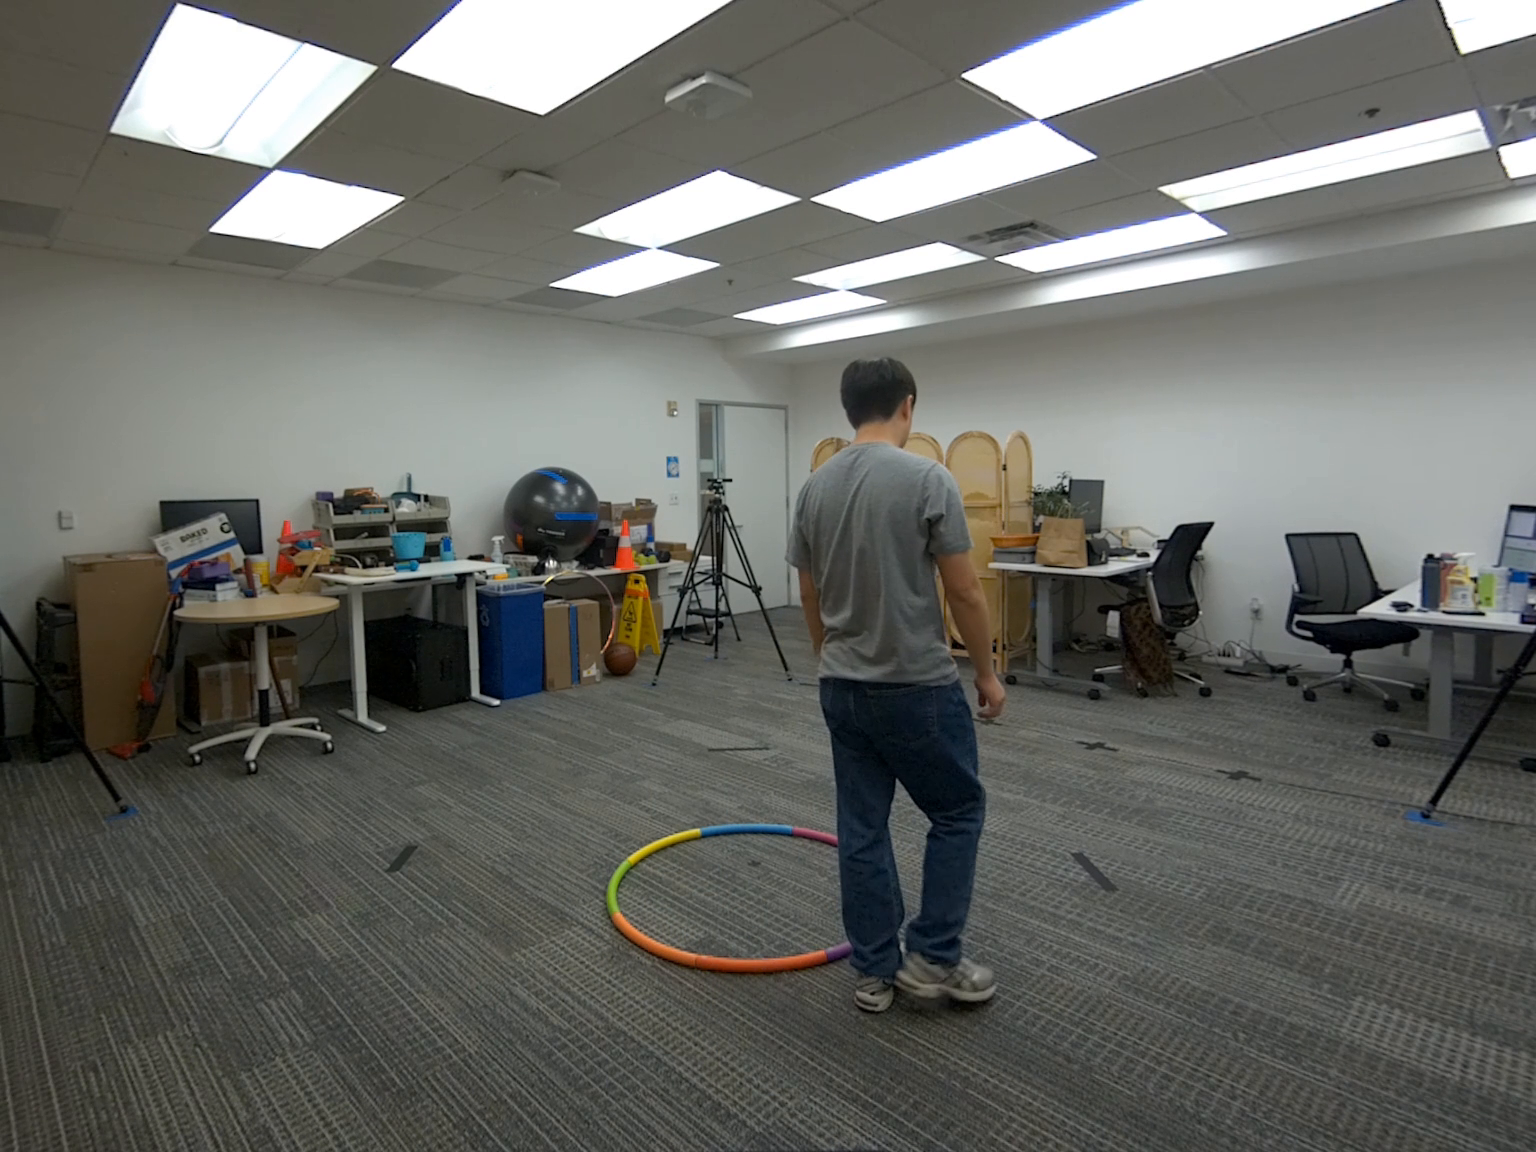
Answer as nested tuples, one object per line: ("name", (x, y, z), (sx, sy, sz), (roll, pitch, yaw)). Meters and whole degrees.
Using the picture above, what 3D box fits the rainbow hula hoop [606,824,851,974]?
("rainbow hula hoop", (-0.053, 1.038, 2.901), (0.978, 0.035, 0.985), (-1, 7, -2))
